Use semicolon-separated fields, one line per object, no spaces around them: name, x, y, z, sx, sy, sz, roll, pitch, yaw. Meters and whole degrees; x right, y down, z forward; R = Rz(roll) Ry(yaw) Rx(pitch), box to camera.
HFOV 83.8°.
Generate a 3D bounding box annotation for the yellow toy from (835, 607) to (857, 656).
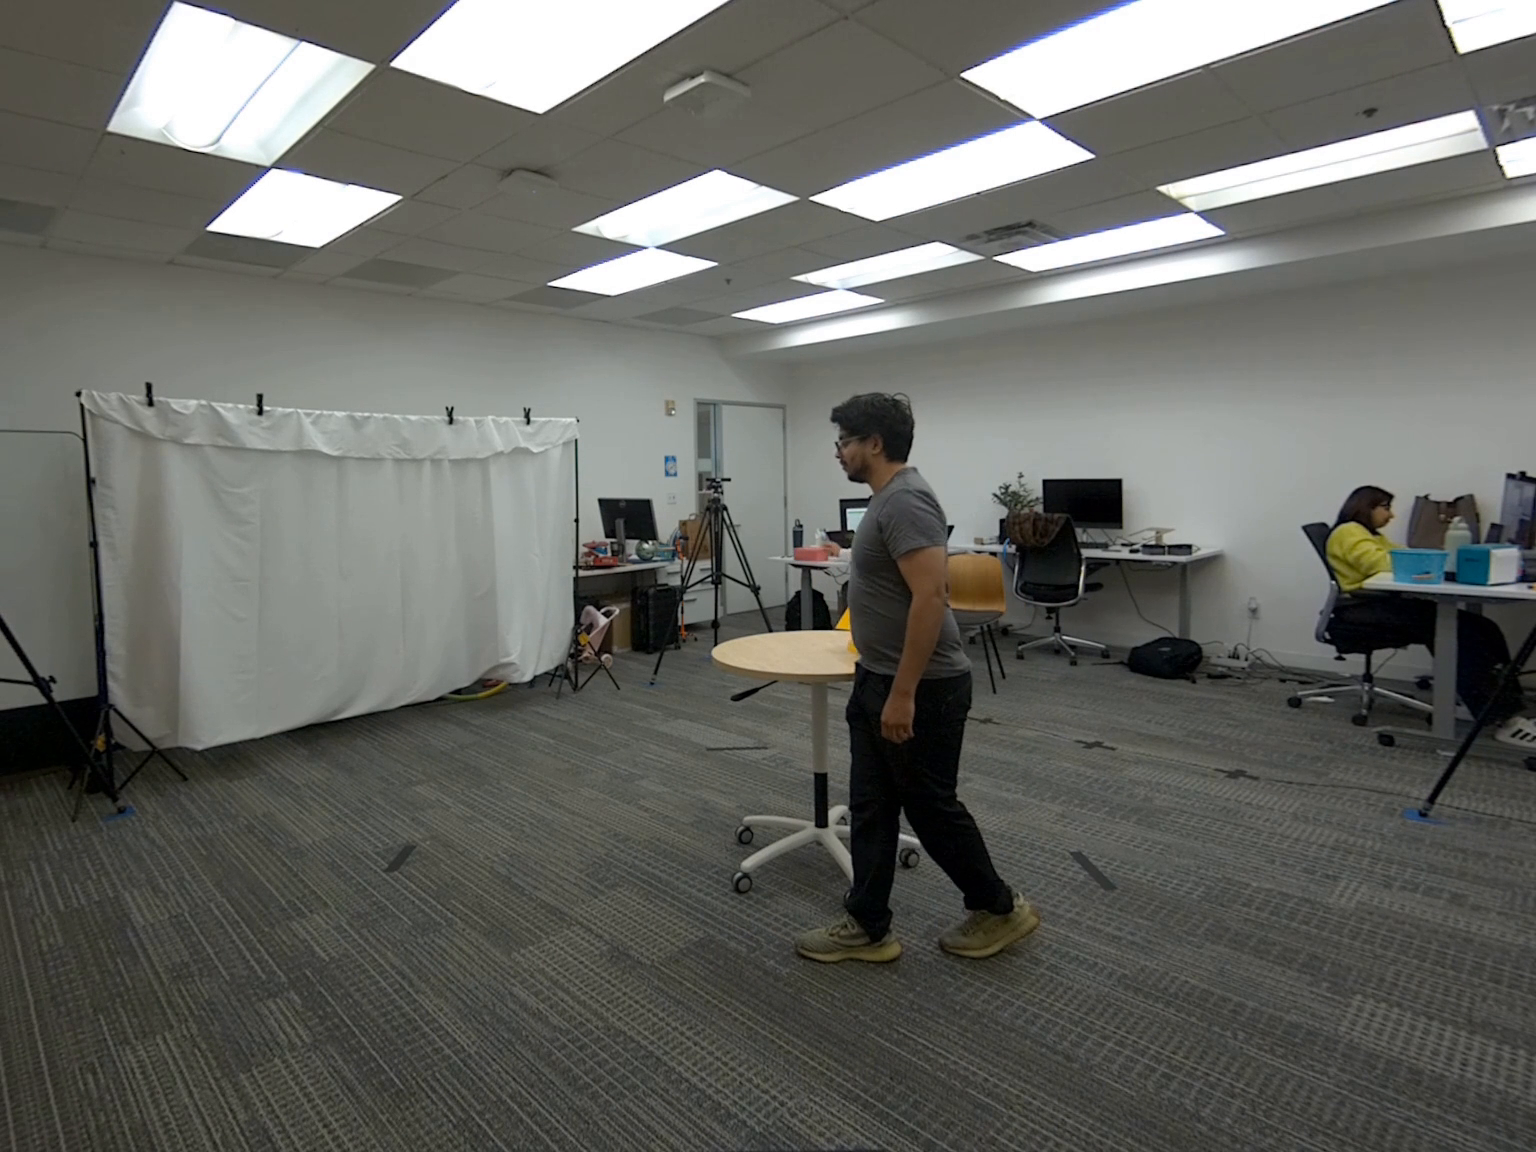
yellow toy;0.383;0.148;3.009;0.188;0.229;0.211;-7;8;-43
